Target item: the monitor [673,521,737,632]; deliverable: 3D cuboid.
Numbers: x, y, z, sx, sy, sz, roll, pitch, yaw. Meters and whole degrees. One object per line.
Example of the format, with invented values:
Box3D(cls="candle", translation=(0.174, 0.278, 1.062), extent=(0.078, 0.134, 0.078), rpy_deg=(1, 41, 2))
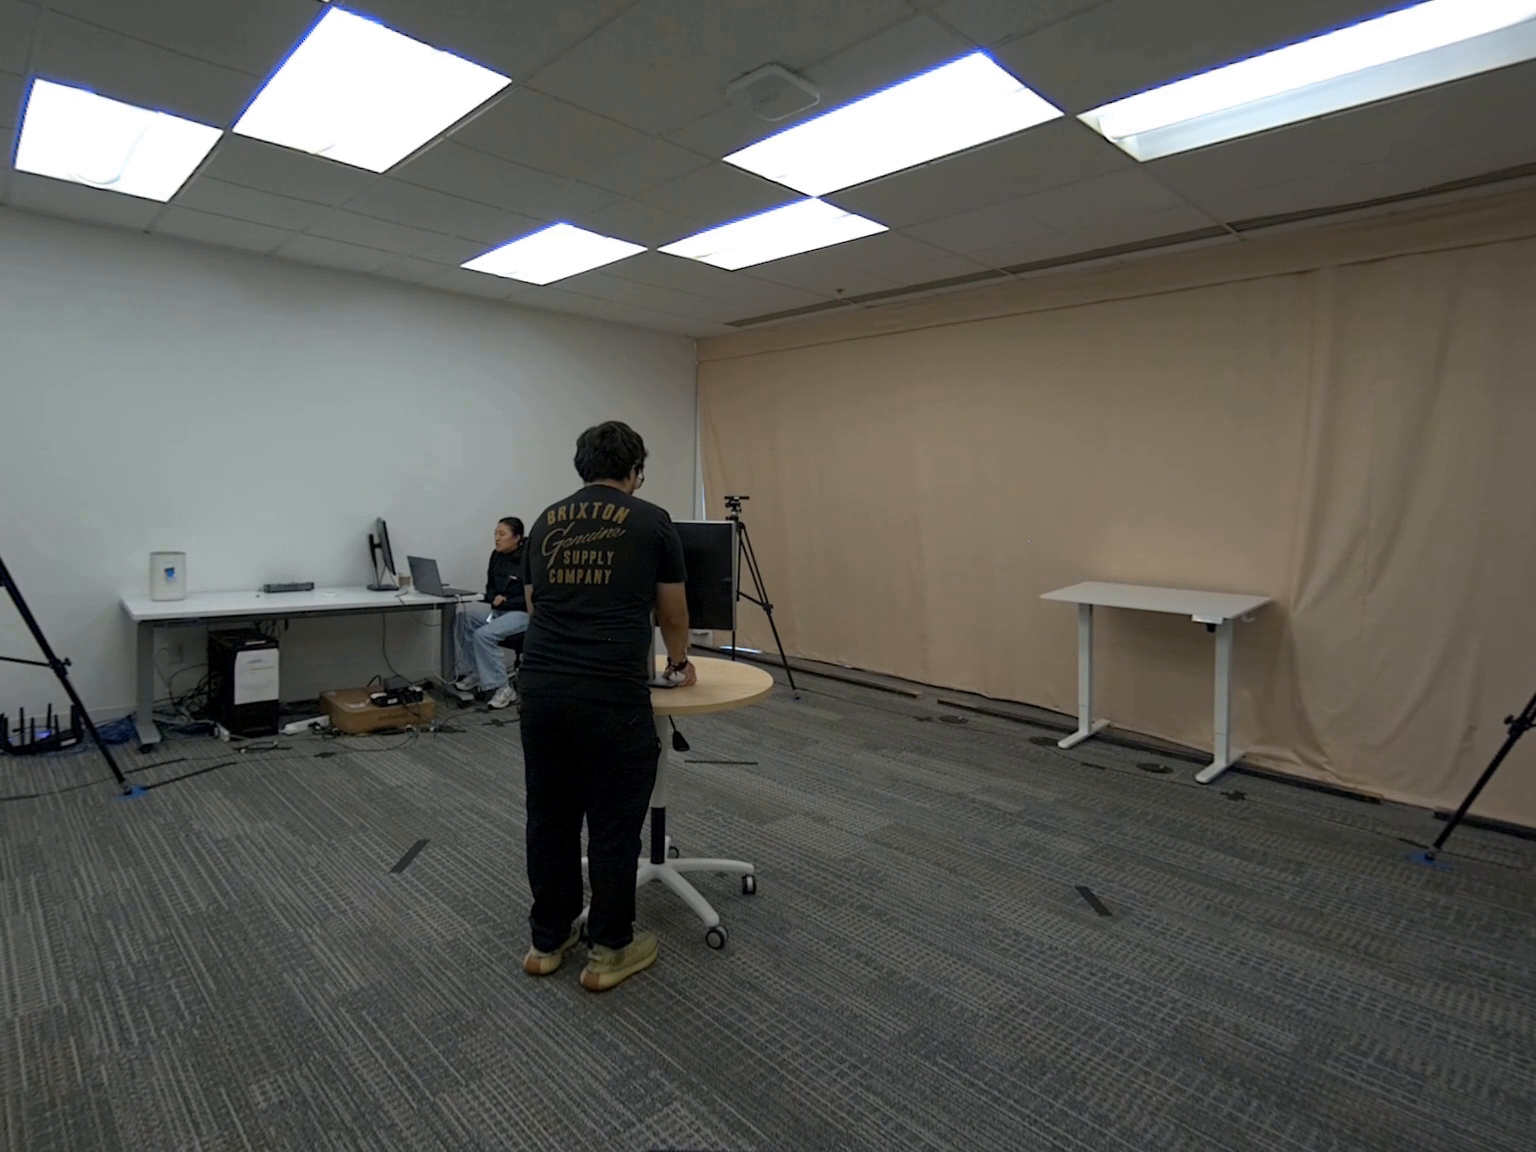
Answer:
Box3D(cls="monitor", translation=(-0.399, 0.091, 2.763), extent=(0.574, 0.551, 0.208), rpy_deg=(3, 6, 18))
